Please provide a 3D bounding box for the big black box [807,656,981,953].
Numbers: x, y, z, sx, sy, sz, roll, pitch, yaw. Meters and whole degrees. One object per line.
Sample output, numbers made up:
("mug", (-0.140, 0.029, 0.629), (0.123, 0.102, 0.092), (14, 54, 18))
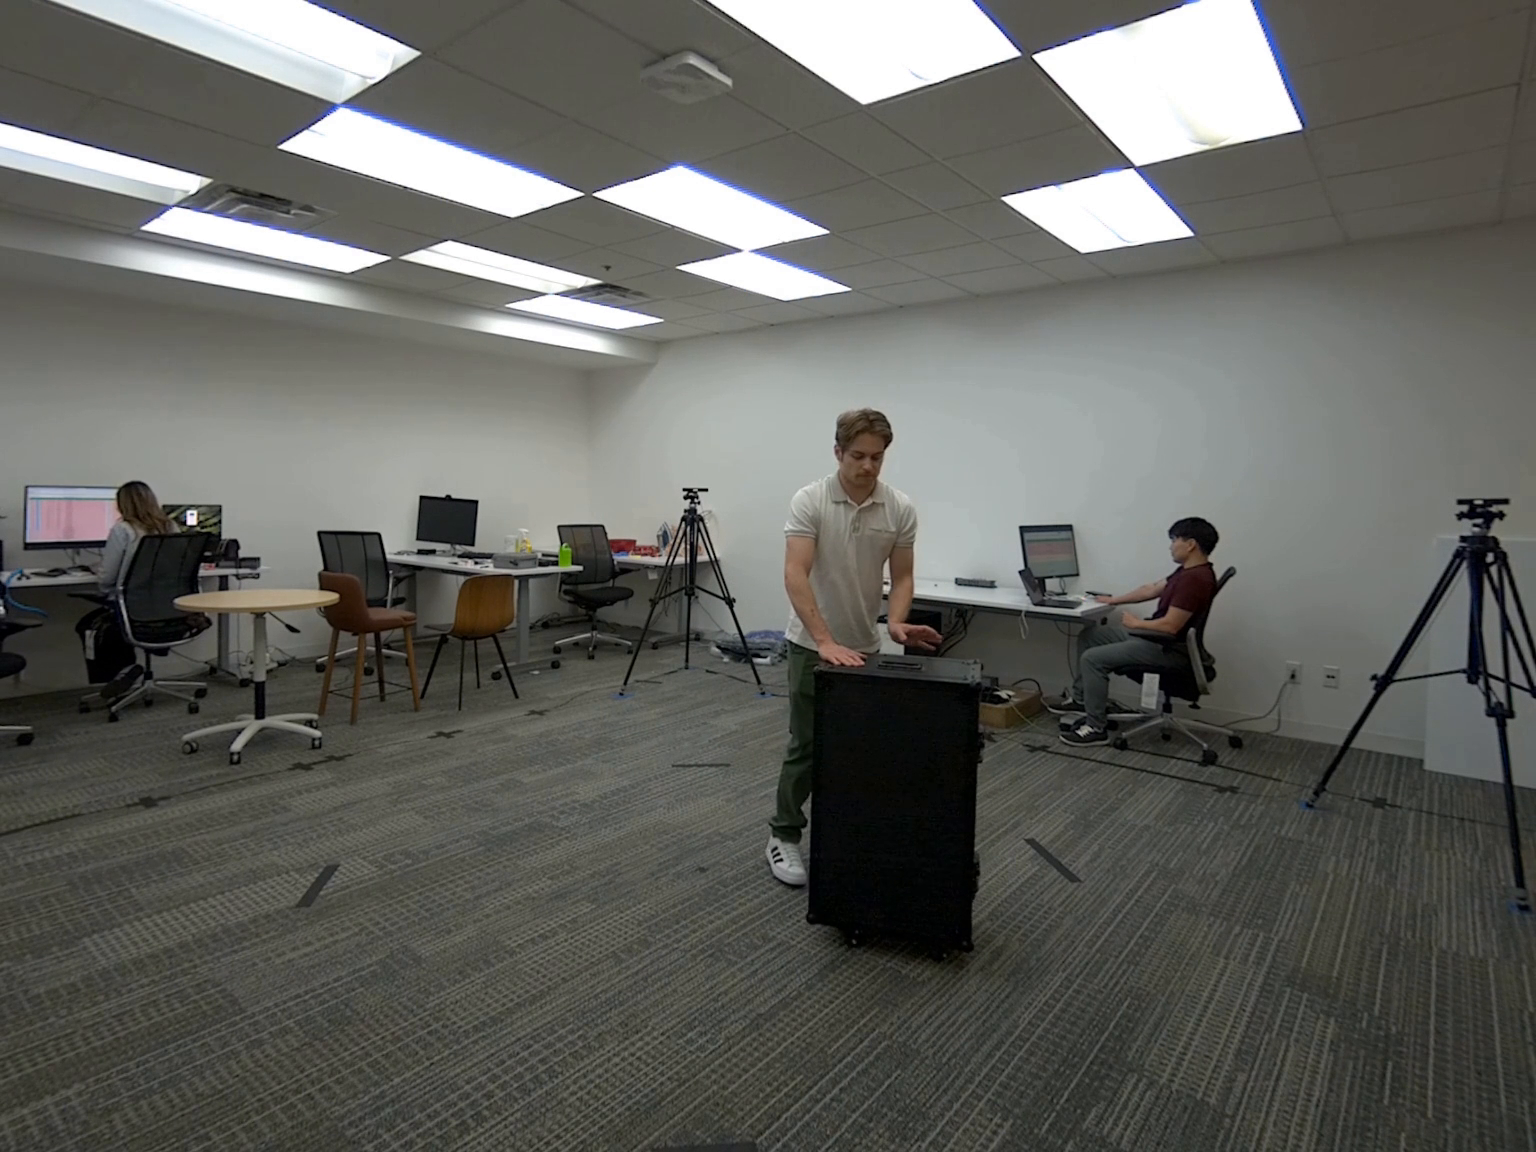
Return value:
("big black box", (0.399, 0.700, 2.680), (0.533, 0.866, 0.380), (2, 4, 16))
